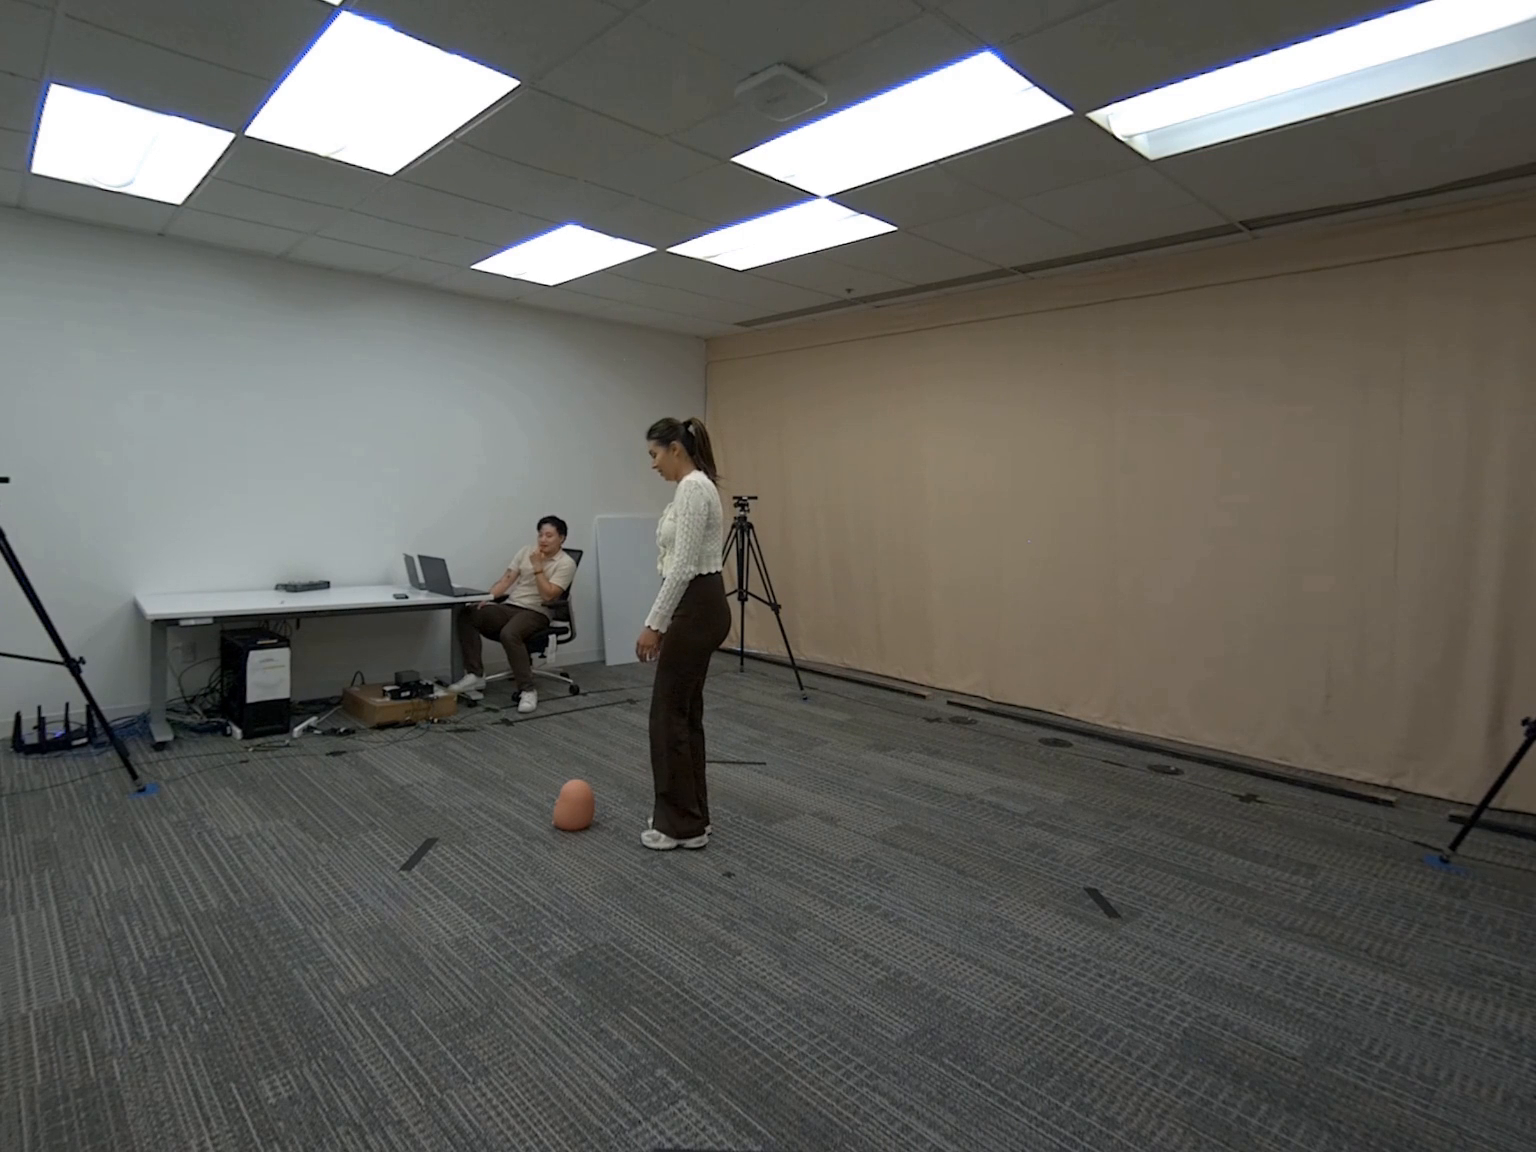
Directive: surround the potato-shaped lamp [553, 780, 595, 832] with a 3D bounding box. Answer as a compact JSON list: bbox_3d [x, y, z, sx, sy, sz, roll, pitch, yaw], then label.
[{"bbox_3d":[-0.812,0.947,3.519,0.175,0.198,0.161,4,3,35],"label":"potato-shaped lamp"}]
